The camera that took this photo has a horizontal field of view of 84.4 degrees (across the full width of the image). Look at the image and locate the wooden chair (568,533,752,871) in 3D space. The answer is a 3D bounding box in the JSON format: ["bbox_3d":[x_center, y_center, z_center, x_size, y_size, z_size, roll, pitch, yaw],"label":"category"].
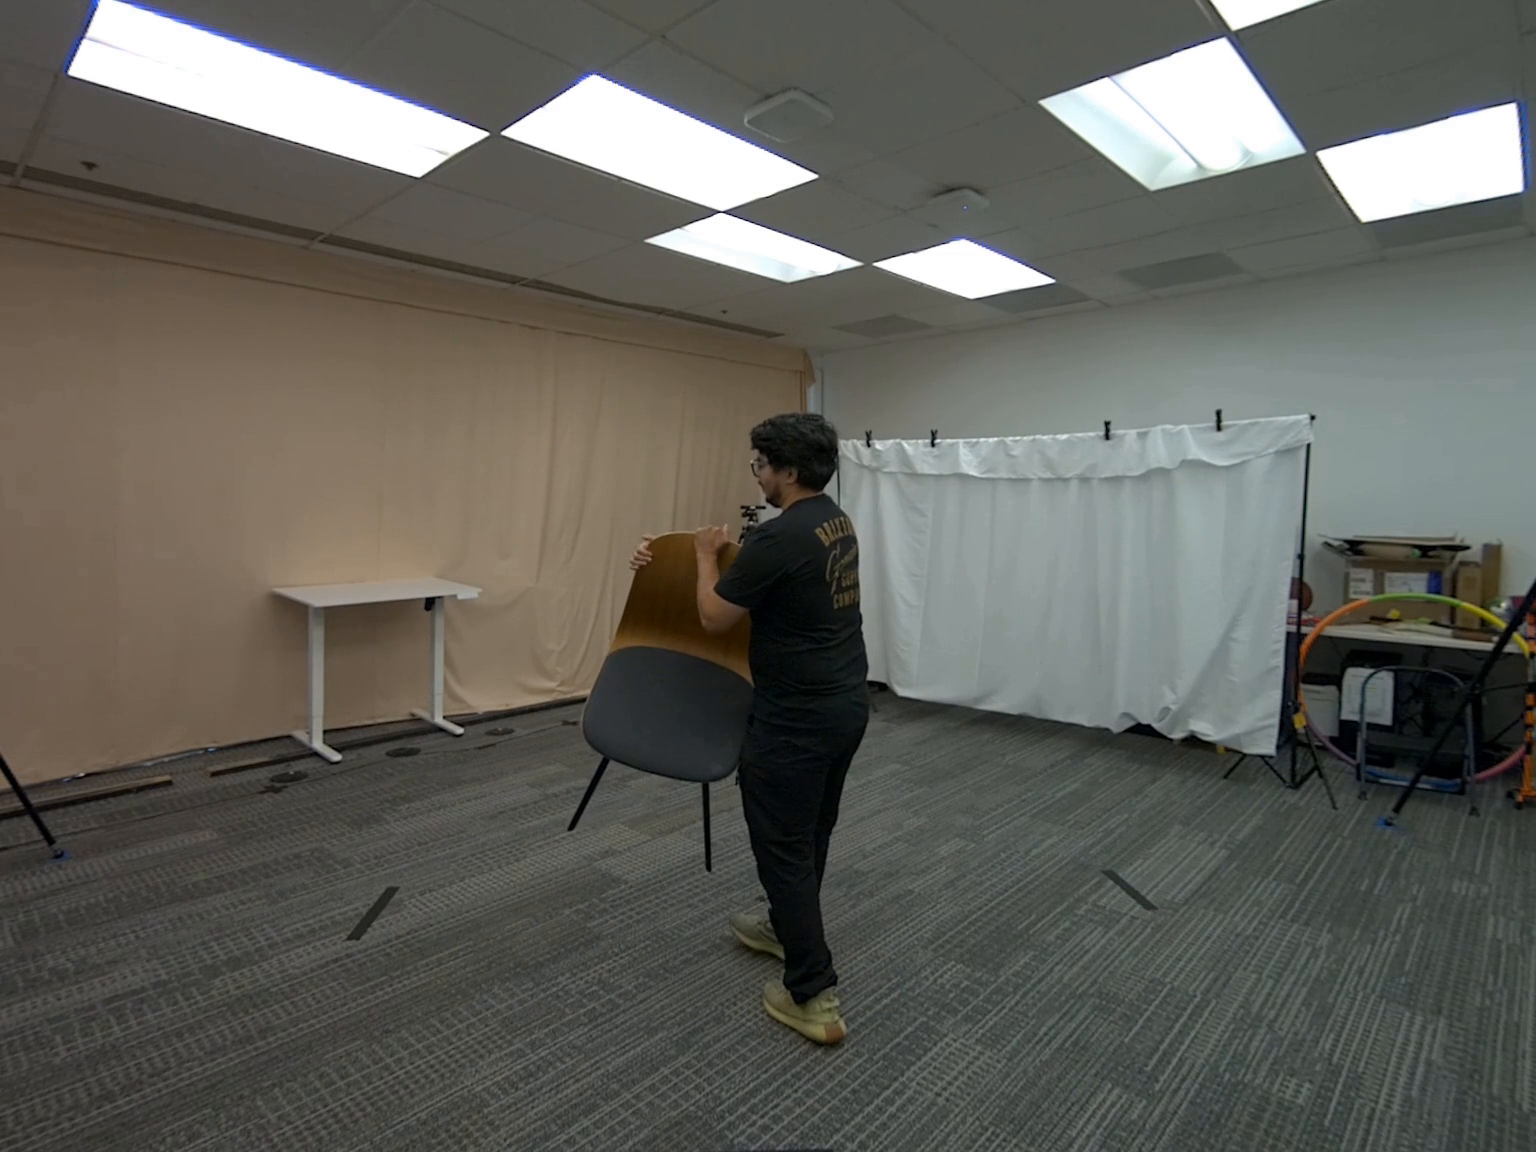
[{"bbox_3d":[-0.274,0.384,2.452,0.479,0.868,0.527,15,34,1],"label":"wooden chair"}]
